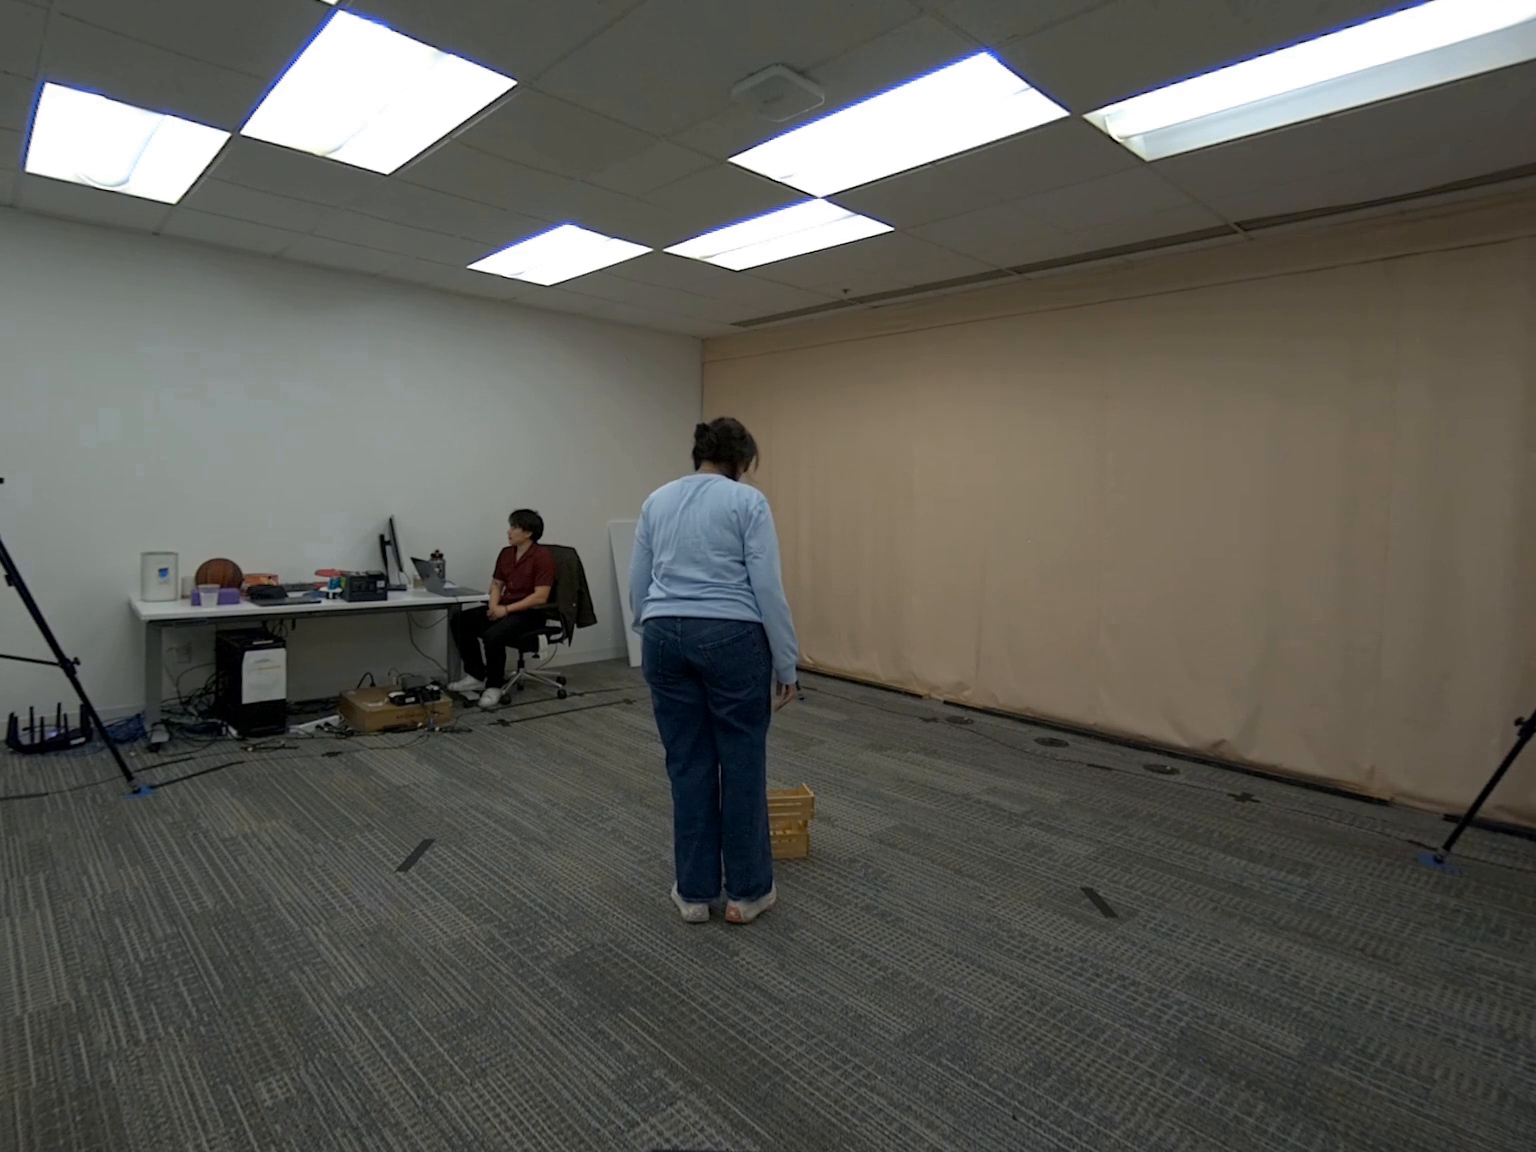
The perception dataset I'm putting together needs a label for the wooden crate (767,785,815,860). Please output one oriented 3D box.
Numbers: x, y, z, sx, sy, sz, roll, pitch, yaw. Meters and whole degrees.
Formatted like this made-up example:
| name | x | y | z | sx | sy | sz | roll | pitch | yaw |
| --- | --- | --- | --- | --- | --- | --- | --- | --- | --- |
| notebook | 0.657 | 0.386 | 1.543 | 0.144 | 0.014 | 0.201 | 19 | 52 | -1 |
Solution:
| name | x | y | z | sx | sy | sz | roll | pitch | yaw |
| --- | --- | --- | --- | --- | --- | --- | --- | --- | --- |
| wooden crate | -0.013 | 0.952 | 3.344 | 0.321 | 0.272 | 0.306 | 1 | 5 | -13 |
